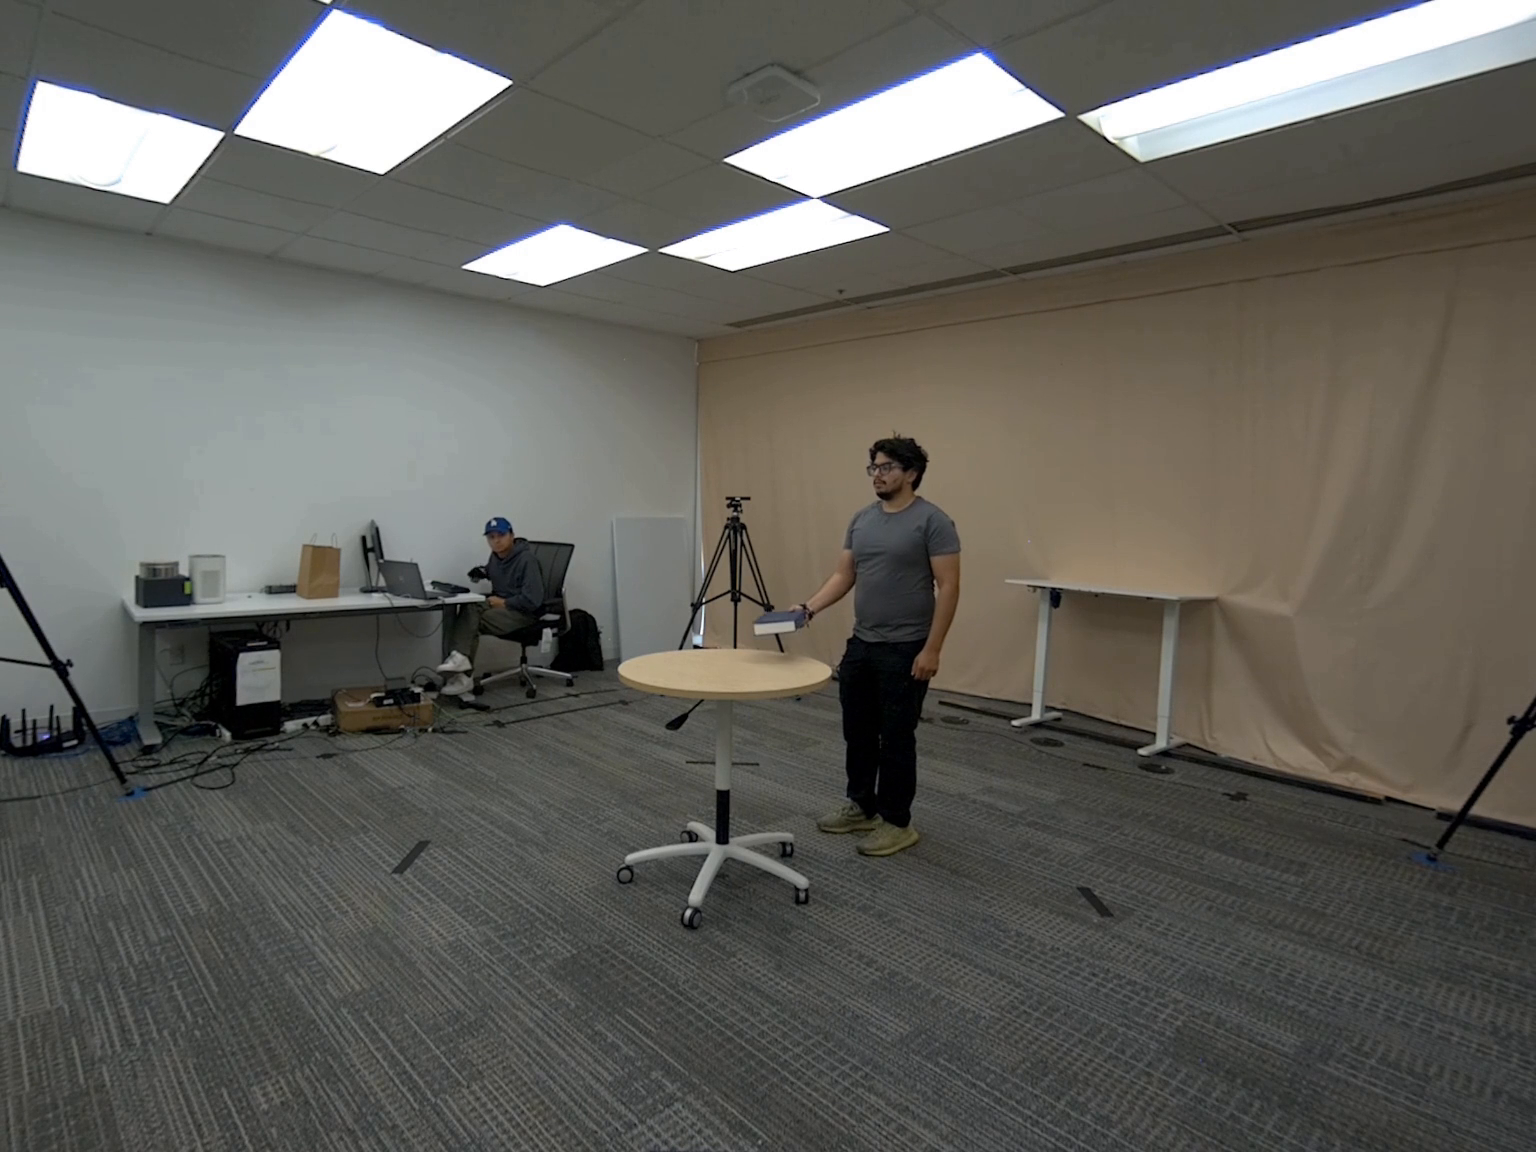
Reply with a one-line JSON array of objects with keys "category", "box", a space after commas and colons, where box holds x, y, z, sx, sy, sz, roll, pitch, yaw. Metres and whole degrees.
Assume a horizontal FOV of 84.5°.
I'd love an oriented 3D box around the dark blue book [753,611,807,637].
[{"category": "dark blue book", "box": [0.042, 0.180, 3.244, 0.165, 0.045, 0.244, -5, 6, 12]}]
